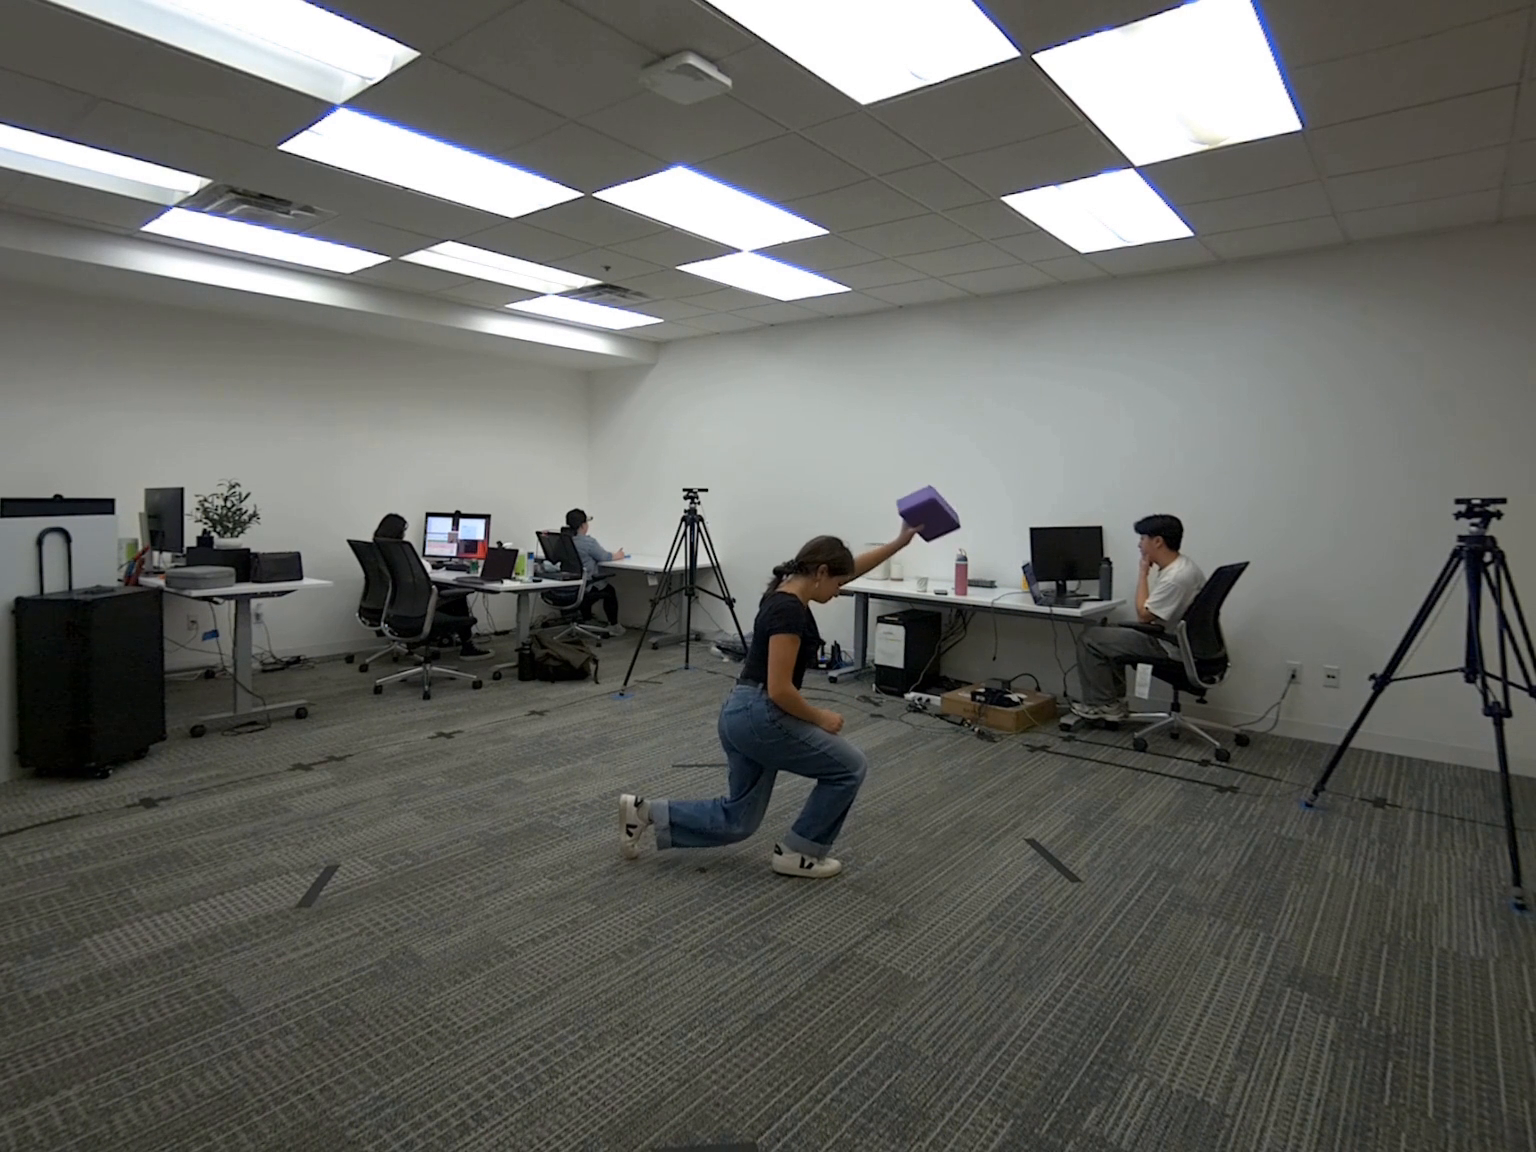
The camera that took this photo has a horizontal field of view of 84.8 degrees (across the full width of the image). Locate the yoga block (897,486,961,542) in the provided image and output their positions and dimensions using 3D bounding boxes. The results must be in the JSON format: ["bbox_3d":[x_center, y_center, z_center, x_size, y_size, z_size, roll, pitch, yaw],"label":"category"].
[{"bbox_3d":[0.610,-0.217,3.200,0.151,0.078,0.220,-25,-44,27],"label":"yoga block"}]
